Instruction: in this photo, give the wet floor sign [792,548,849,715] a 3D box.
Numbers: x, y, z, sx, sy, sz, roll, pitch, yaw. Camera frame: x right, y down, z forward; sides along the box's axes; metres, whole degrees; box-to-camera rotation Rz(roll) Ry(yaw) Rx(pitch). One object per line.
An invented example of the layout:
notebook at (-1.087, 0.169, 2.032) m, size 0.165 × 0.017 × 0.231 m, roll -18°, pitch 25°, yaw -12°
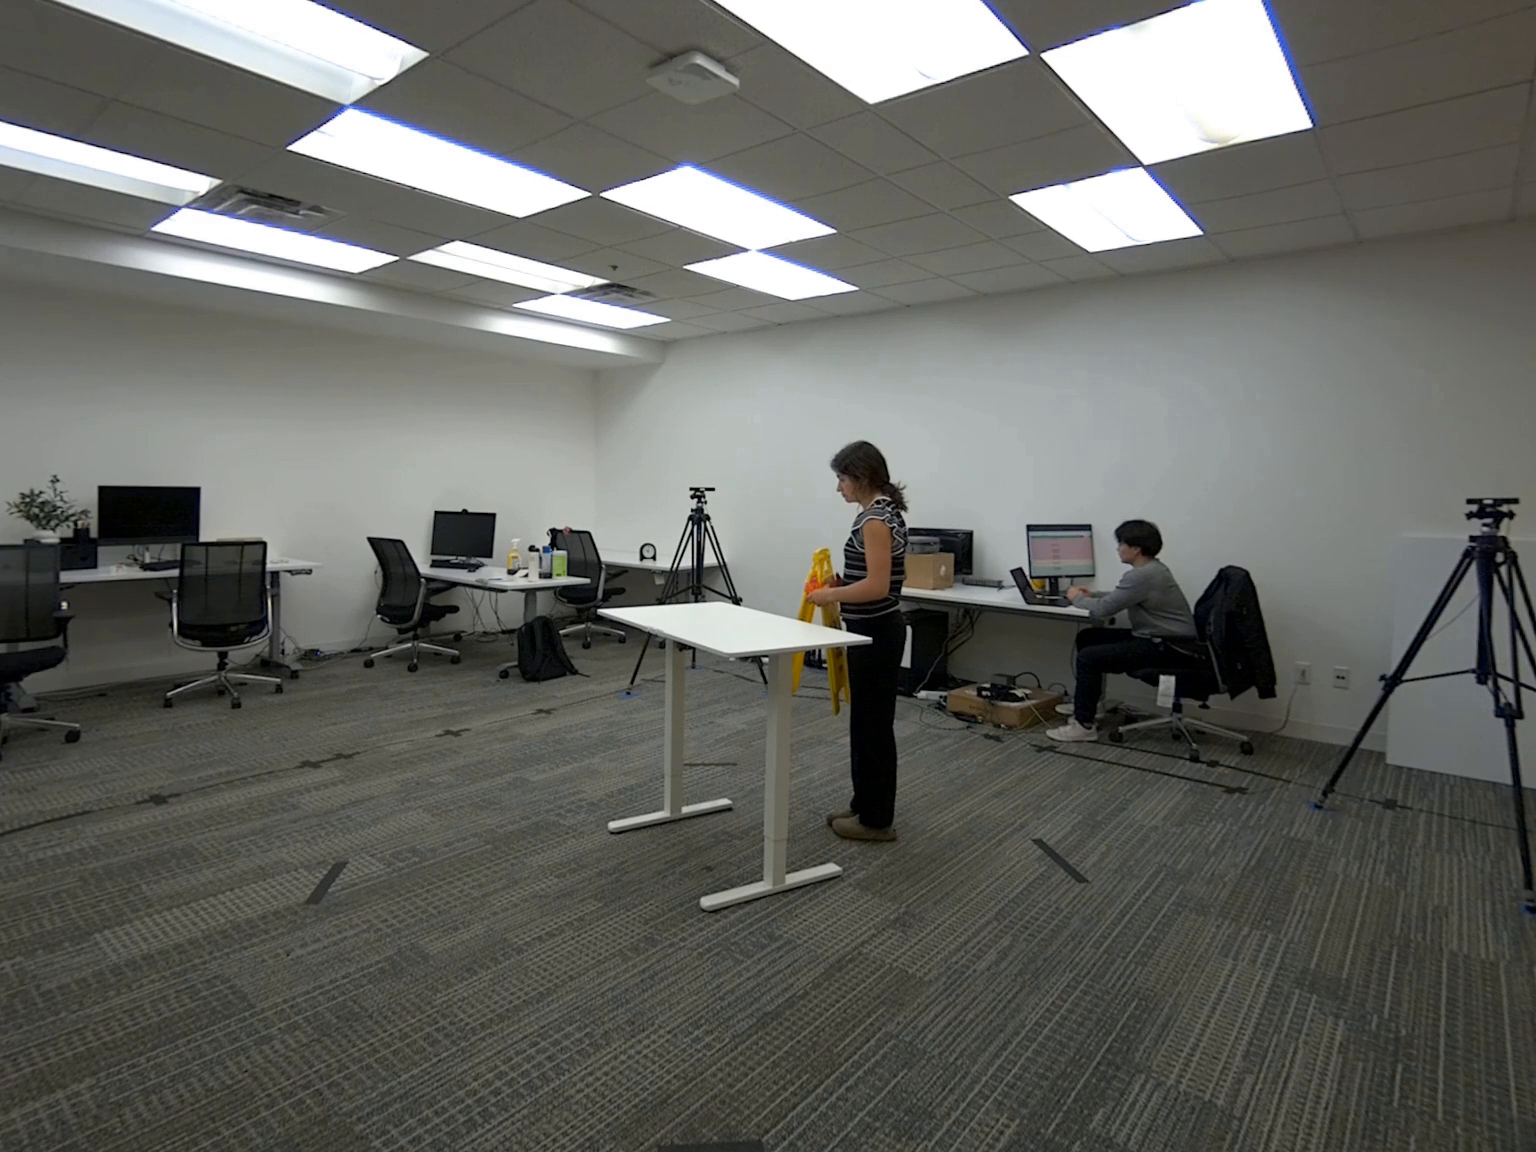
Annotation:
wet floor sign at (0.200, 0.203, 3.560) m, size 0.296 × 0.642 × 0.278 m, roll 4°, pitch 6°, yaw 18°
